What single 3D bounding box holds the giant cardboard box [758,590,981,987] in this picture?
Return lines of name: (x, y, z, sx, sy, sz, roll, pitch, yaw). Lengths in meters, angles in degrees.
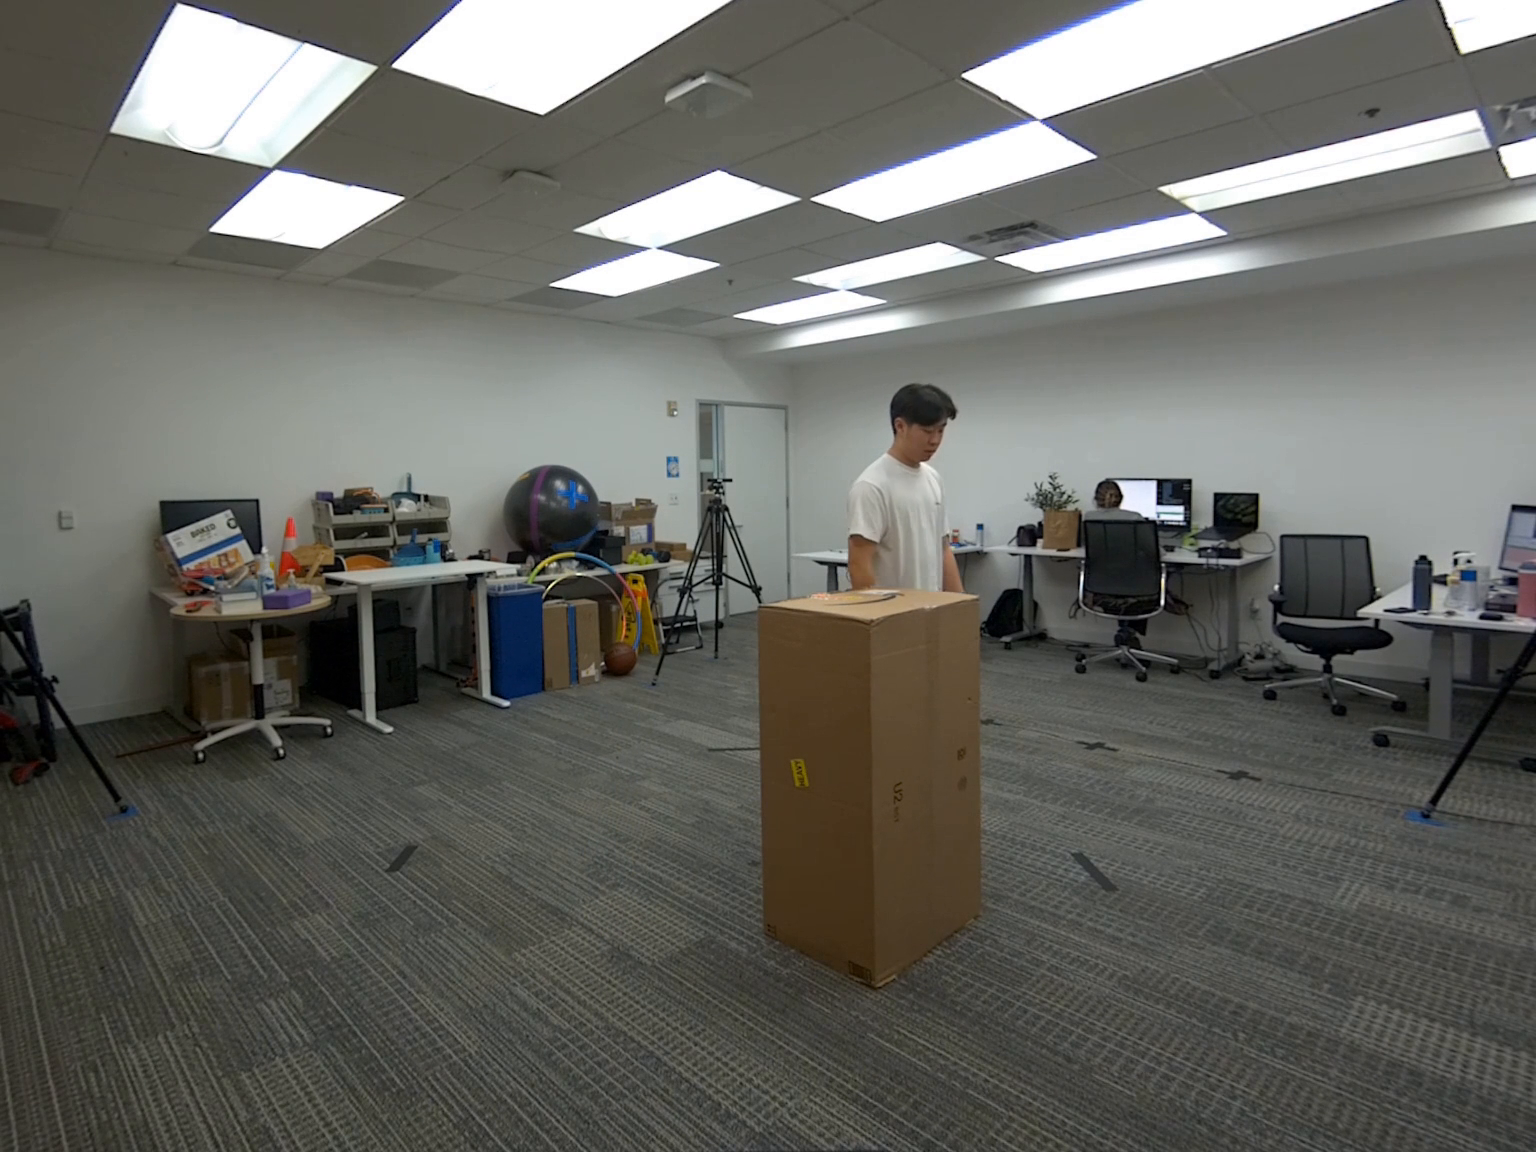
giant cardboard box: (0.325, 0.584, 2.643, 0.439, 1.022, 0.562, 3, 5, 45)
